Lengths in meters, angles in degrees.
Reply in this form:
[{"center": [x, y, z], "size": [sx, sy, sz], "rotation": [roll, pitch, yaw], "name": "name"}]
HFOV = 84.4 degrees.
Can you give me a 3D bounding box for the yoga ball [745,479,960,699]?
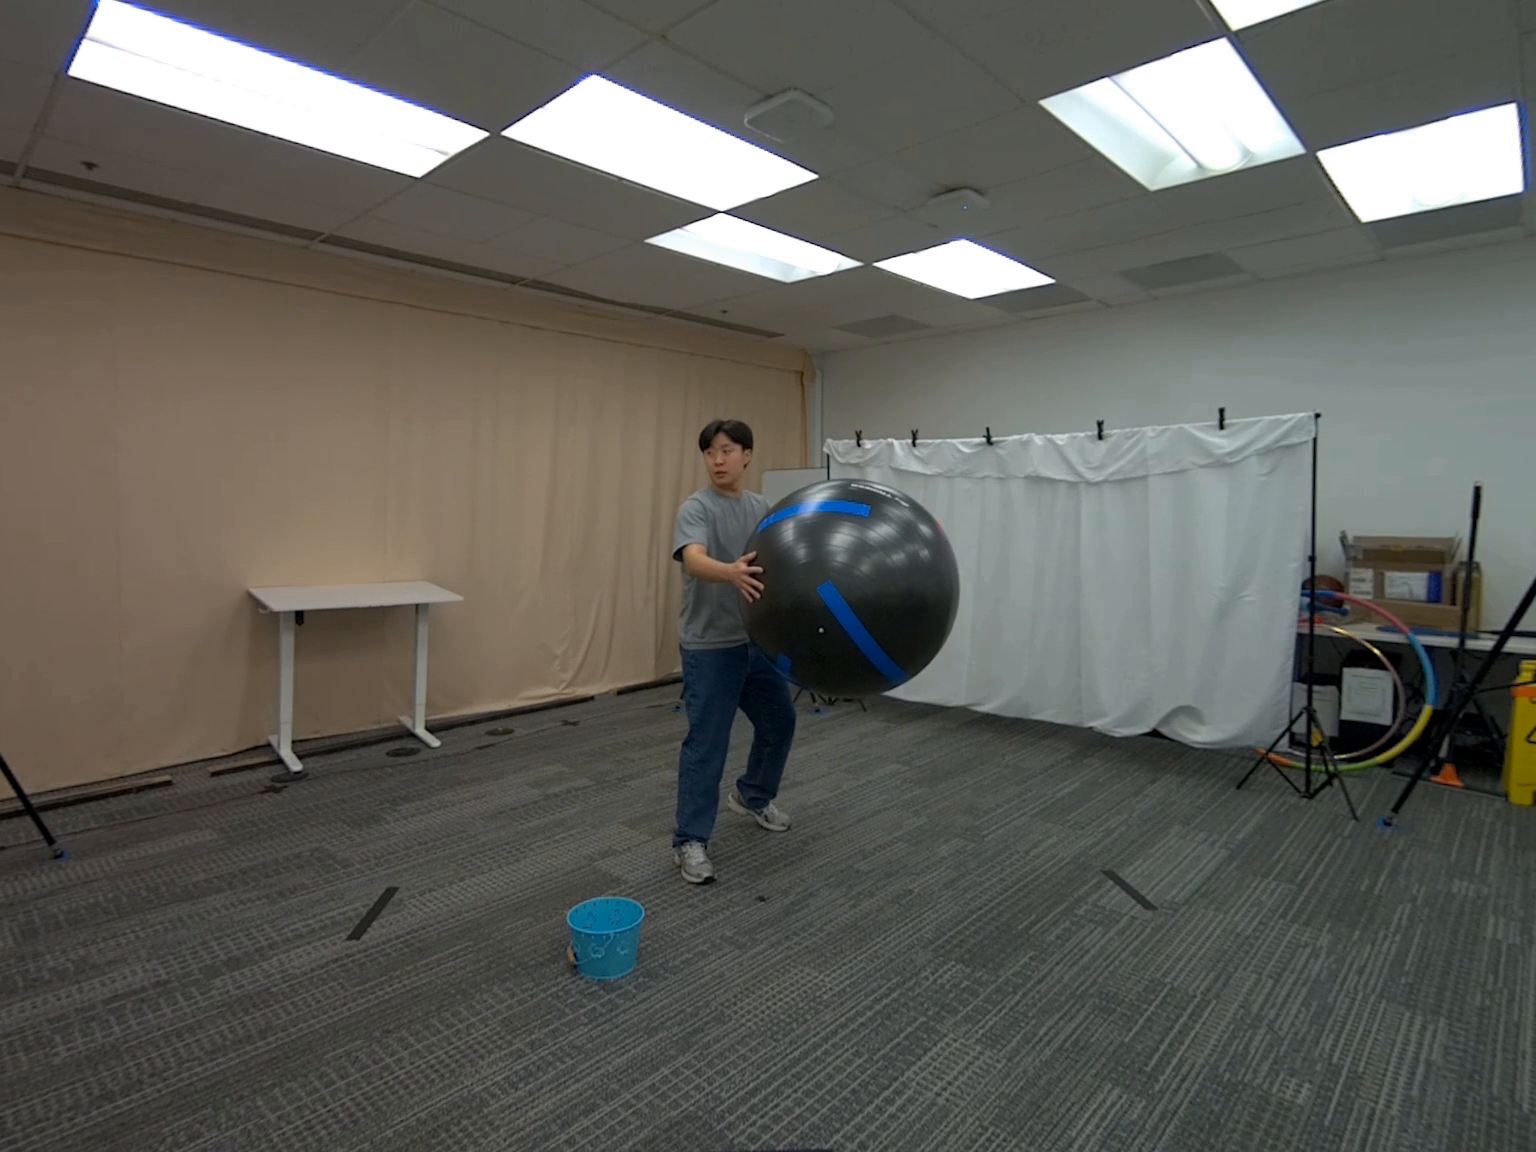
[{"center": [0.279, 0.050, 2.935], "size": [0.757, 0.756, 0.760], "rotation": [0, 4, -2], "name": "yoga ball"}]
